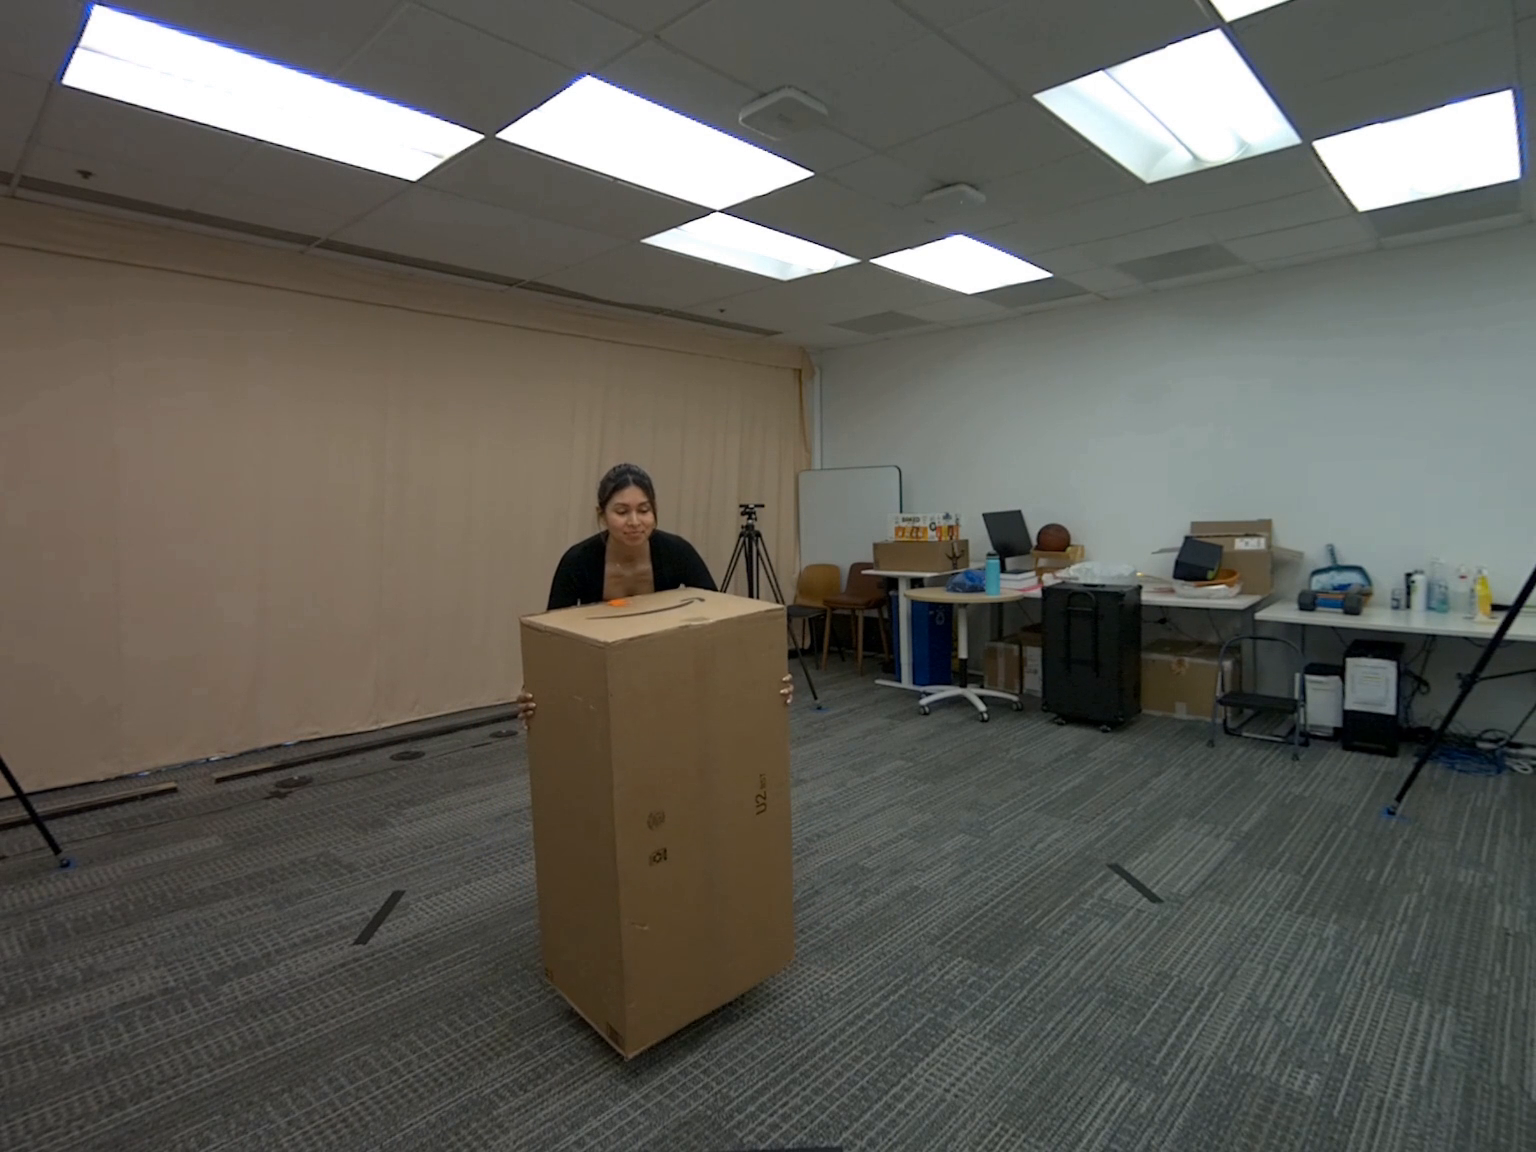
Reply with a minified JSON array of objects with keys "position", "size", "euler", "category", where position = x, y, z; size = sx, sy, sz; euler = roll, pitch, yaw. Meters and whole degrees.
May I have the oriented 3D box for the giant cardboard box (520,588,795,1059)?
[{"position":[-0.280,0.600,2.275],"size":[0.561,1.021,0.441],"euler":[-8,10,-42],"category":"giant cardboard box"}]
